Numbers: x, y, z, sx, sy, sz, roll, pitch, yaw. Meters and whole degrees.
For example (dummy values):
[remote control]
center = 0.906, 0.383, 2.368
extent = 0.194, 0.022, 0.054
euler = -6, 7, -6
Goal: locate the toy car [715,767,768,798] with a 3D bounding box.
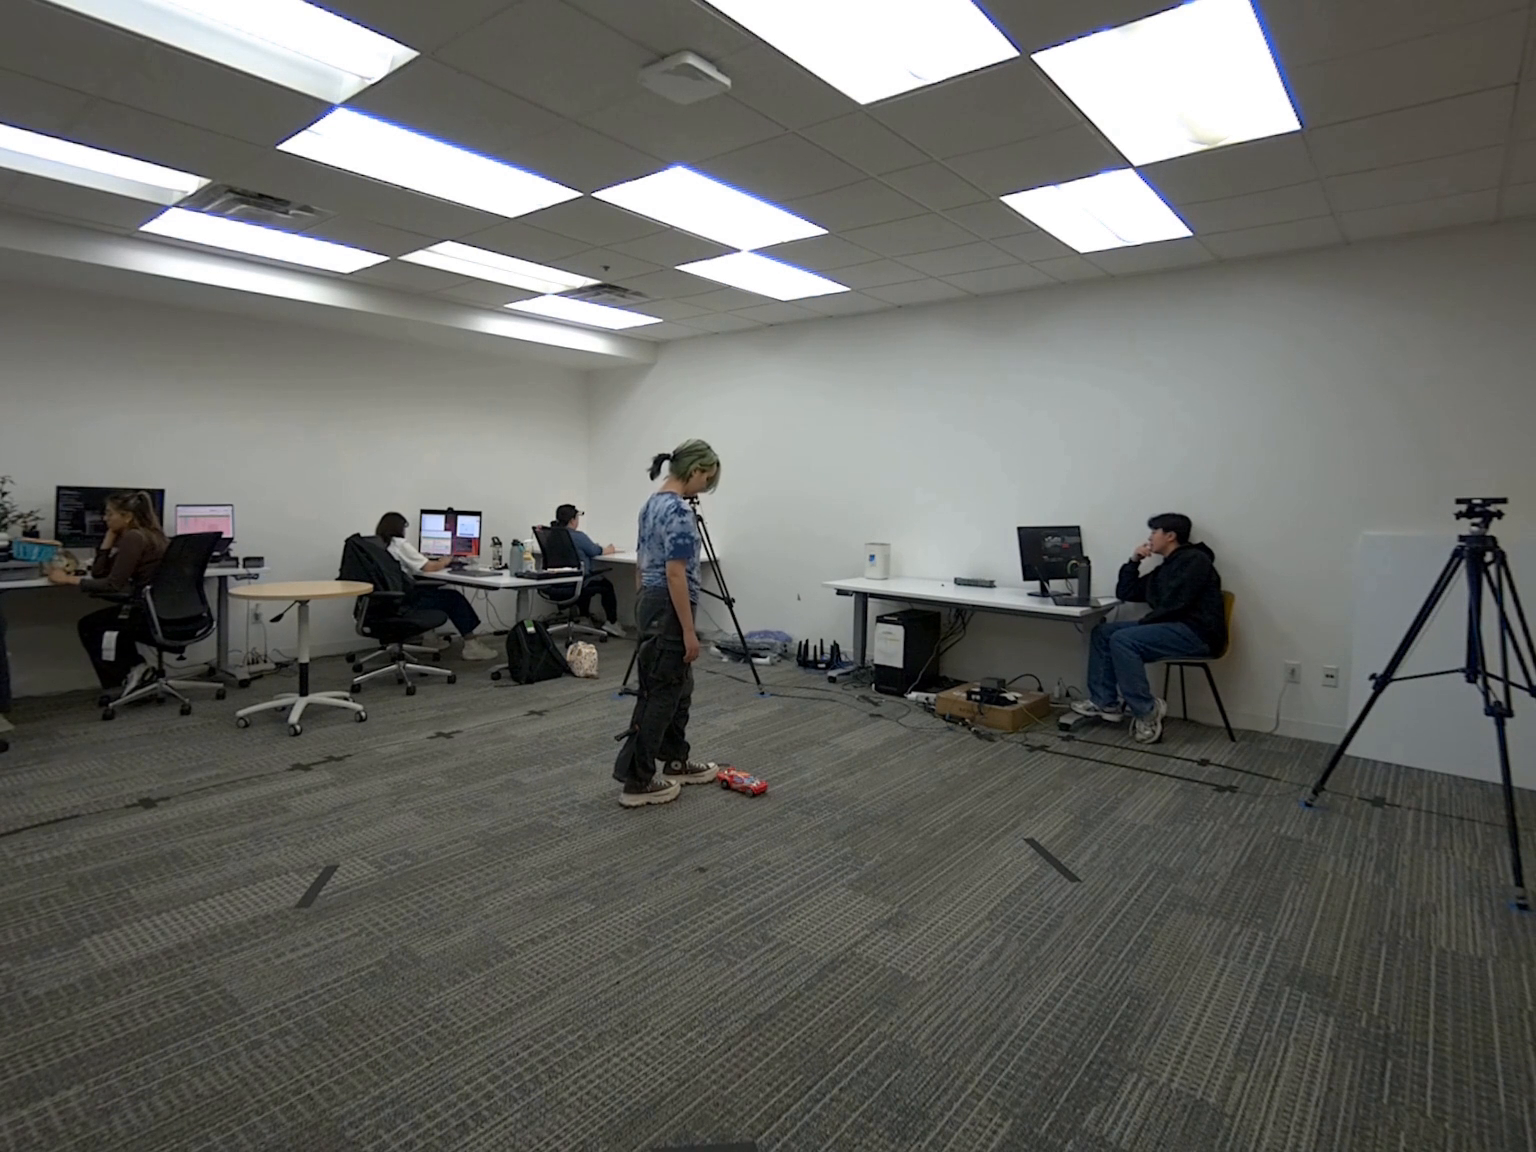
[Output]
[toy car]
center = -0.137, 0.961, 3.960
extent = 0.264, 0.082, 0.126
euler = 19, 14, 37
